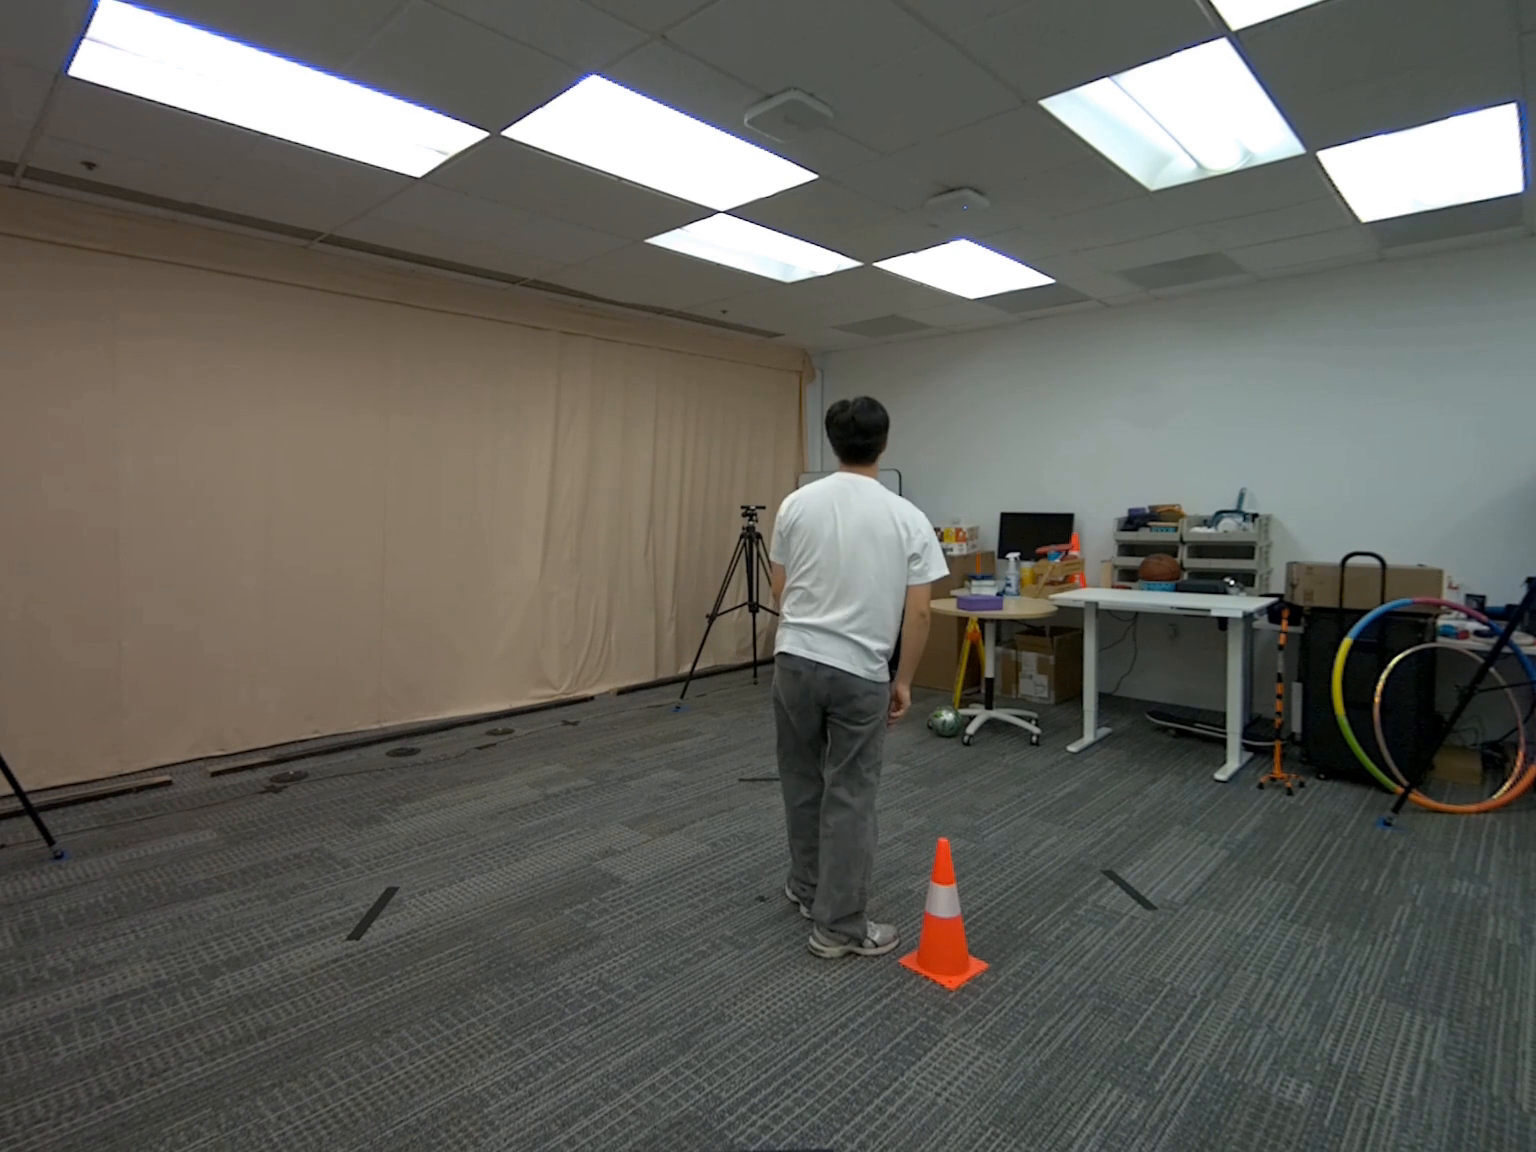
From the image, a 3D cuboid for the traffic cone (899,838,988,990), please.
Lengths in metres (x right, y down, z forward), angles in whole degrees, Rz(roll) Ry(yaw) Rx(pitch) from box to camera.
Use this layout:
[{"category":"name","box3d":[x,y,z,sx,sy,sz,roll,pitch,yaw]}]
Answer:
[{"category":"traffic cone","box3d":[0.543,0.996,2.551,0.197,0.383,0.211,-2,3,-36]}]
